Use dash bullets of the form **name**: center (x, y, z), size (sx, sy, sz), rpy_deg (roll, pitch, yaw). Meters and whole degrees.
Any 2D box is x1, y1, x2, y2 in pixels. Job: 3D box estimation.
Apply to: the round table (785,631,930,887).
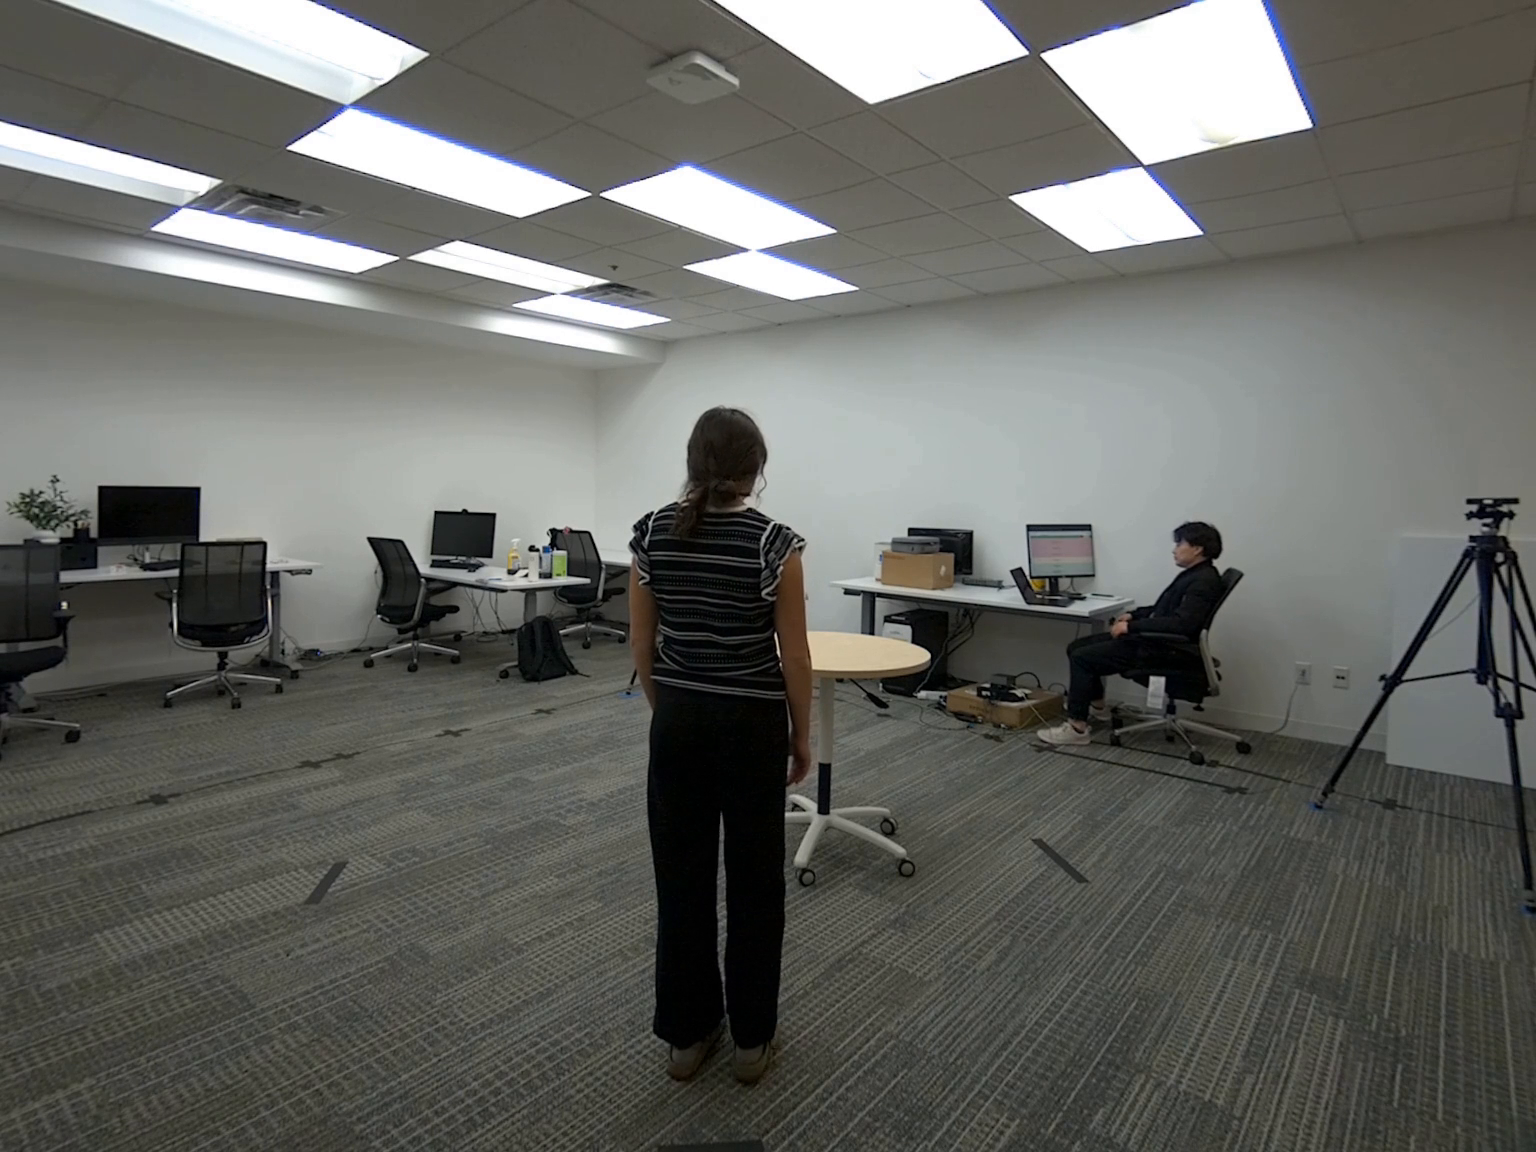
- **round table**: center (0.217, 0.670, 3.295), size (0.763, 0.791, 0.768), rpy_deg (1, 5, -2)
